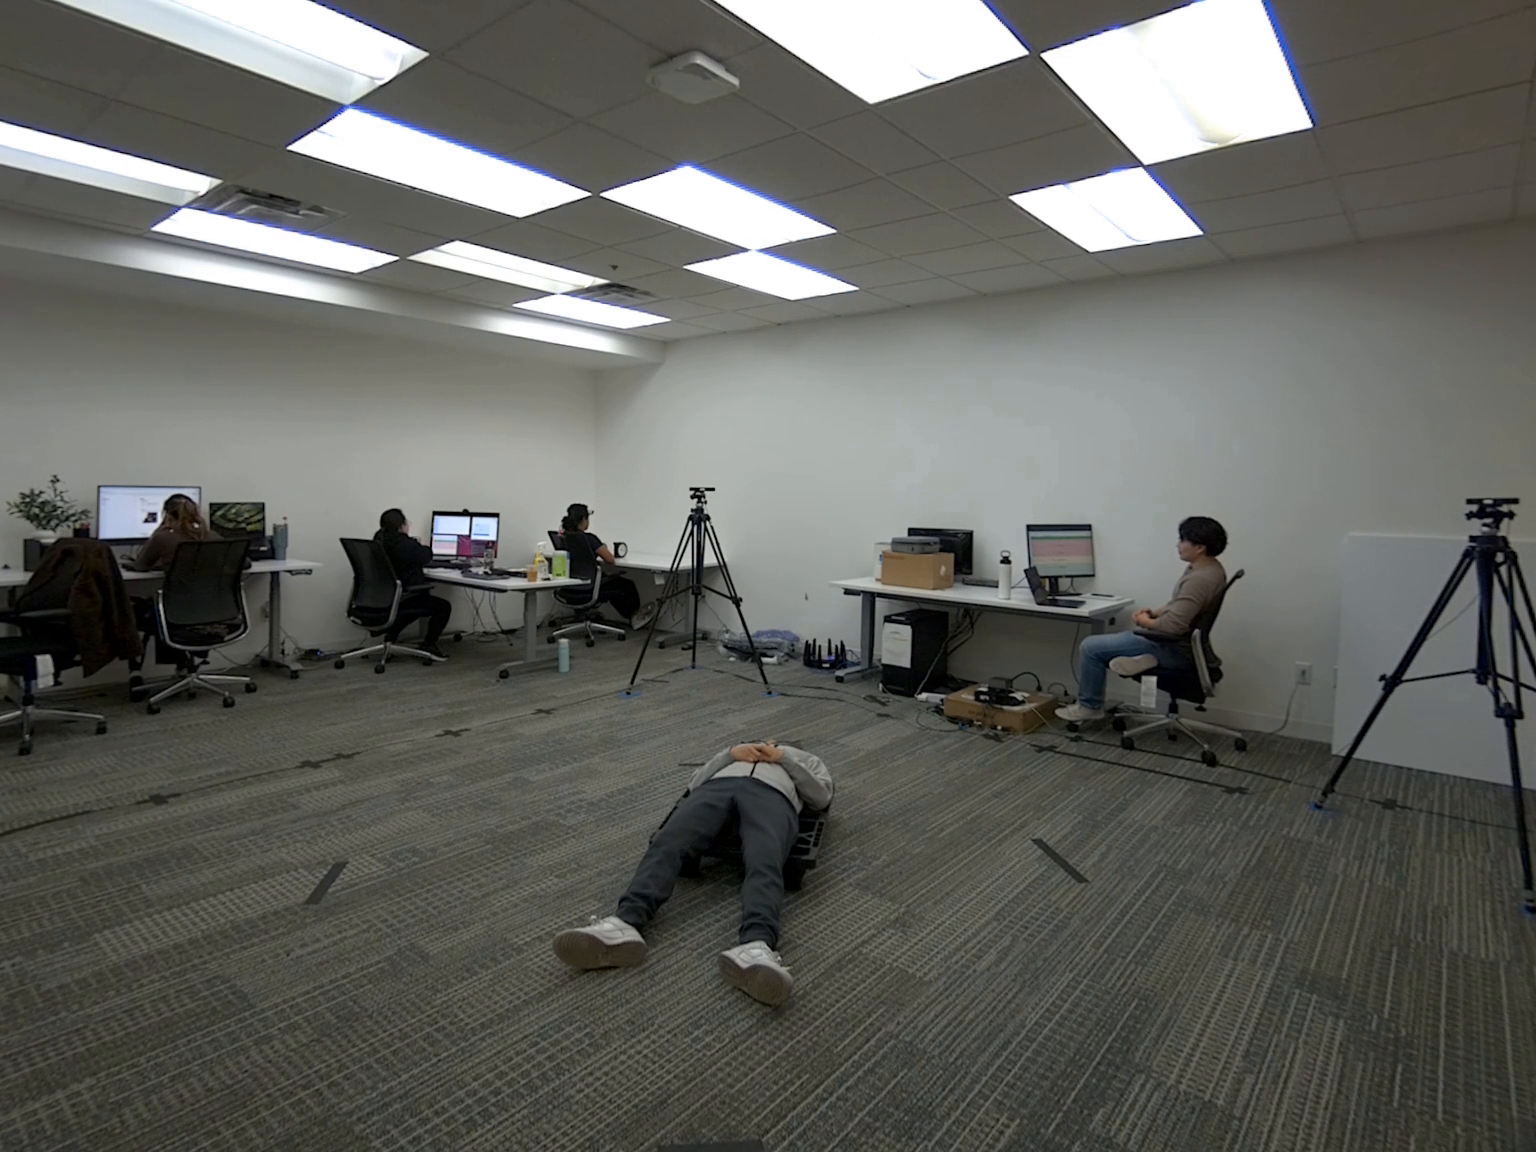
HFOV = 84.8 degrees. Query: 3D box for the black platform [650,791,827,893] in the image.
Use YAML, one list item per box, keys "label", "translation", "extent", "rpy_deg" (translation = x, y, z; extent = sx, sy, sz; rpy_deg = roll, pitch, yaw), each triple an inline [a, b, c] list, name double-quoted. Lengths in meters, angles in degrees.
- label: "black platform"
  translation: [-0.076, 0.974, 3.350]
  extent: [0.614, 0.143, 0.796]
  rpy_deg: [2, 4, 11]
